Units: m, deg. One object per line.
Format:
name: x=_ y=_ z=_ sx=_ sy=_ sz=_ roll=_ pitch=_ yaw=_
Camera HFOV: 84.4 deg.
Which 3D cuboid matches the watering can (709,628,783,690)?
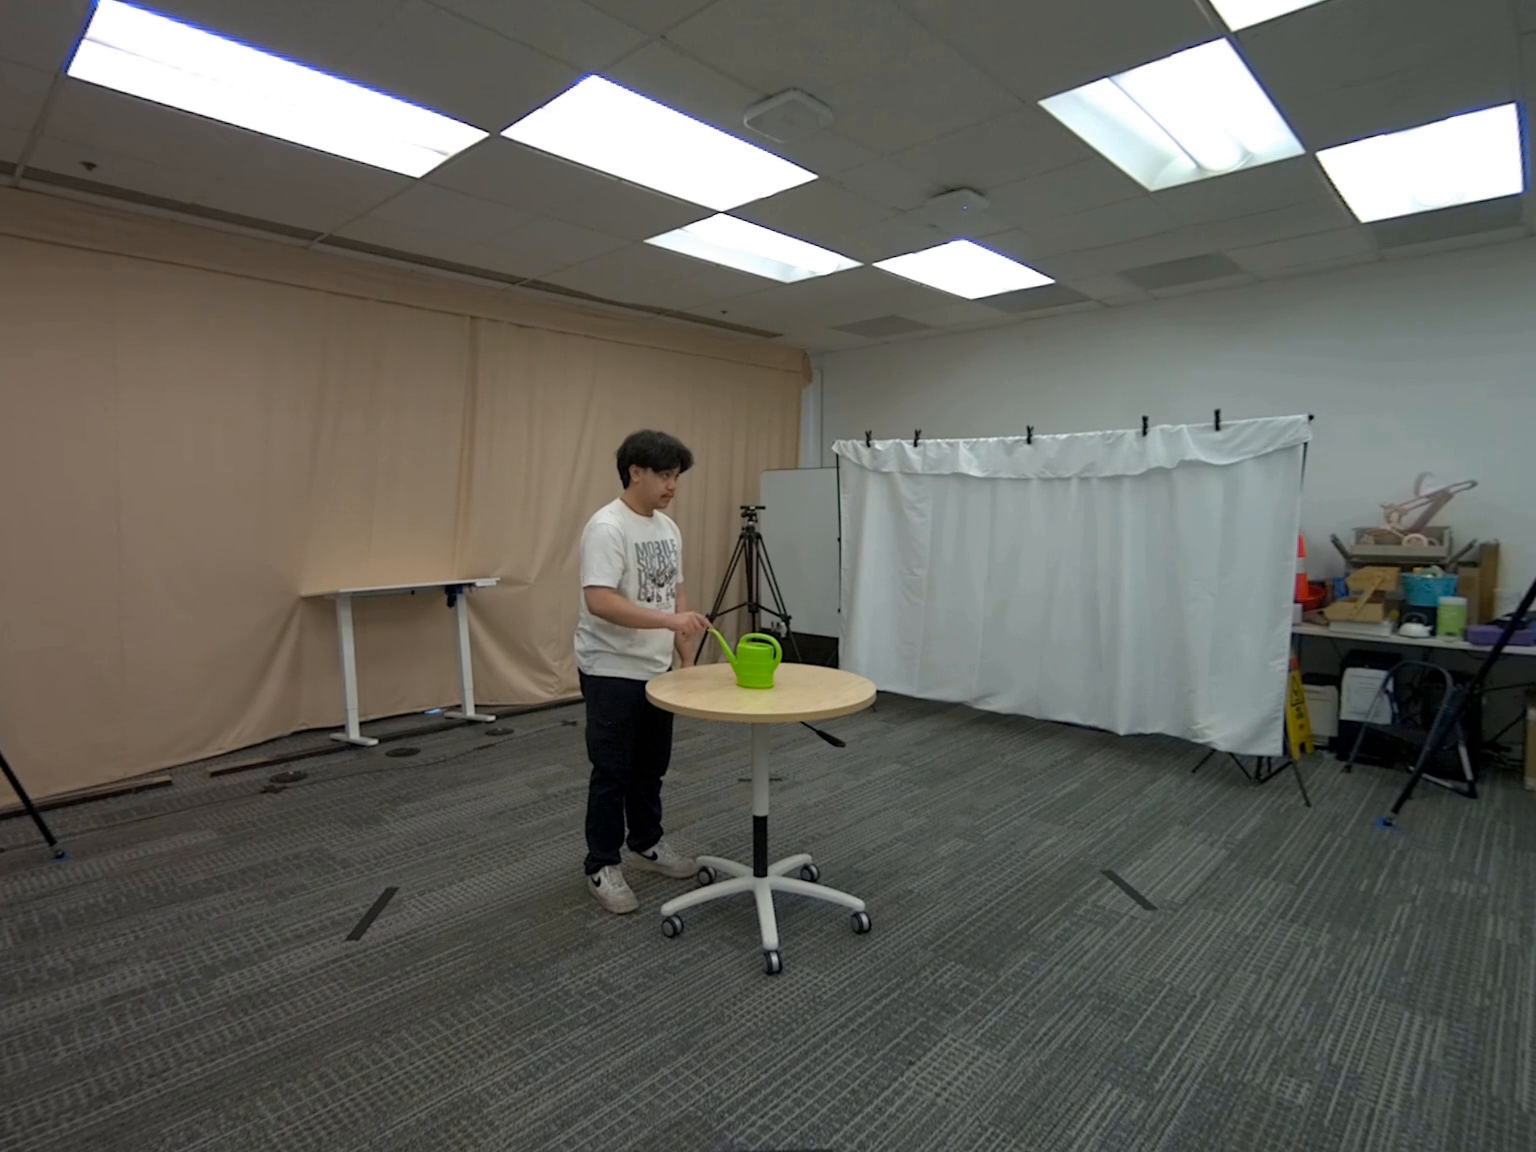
watering can: x=-0.068 y=0.275 z=2.824 sx=0.287 sy=0.176 sz=0.095 roll=5 pitch=5 yaw=39
